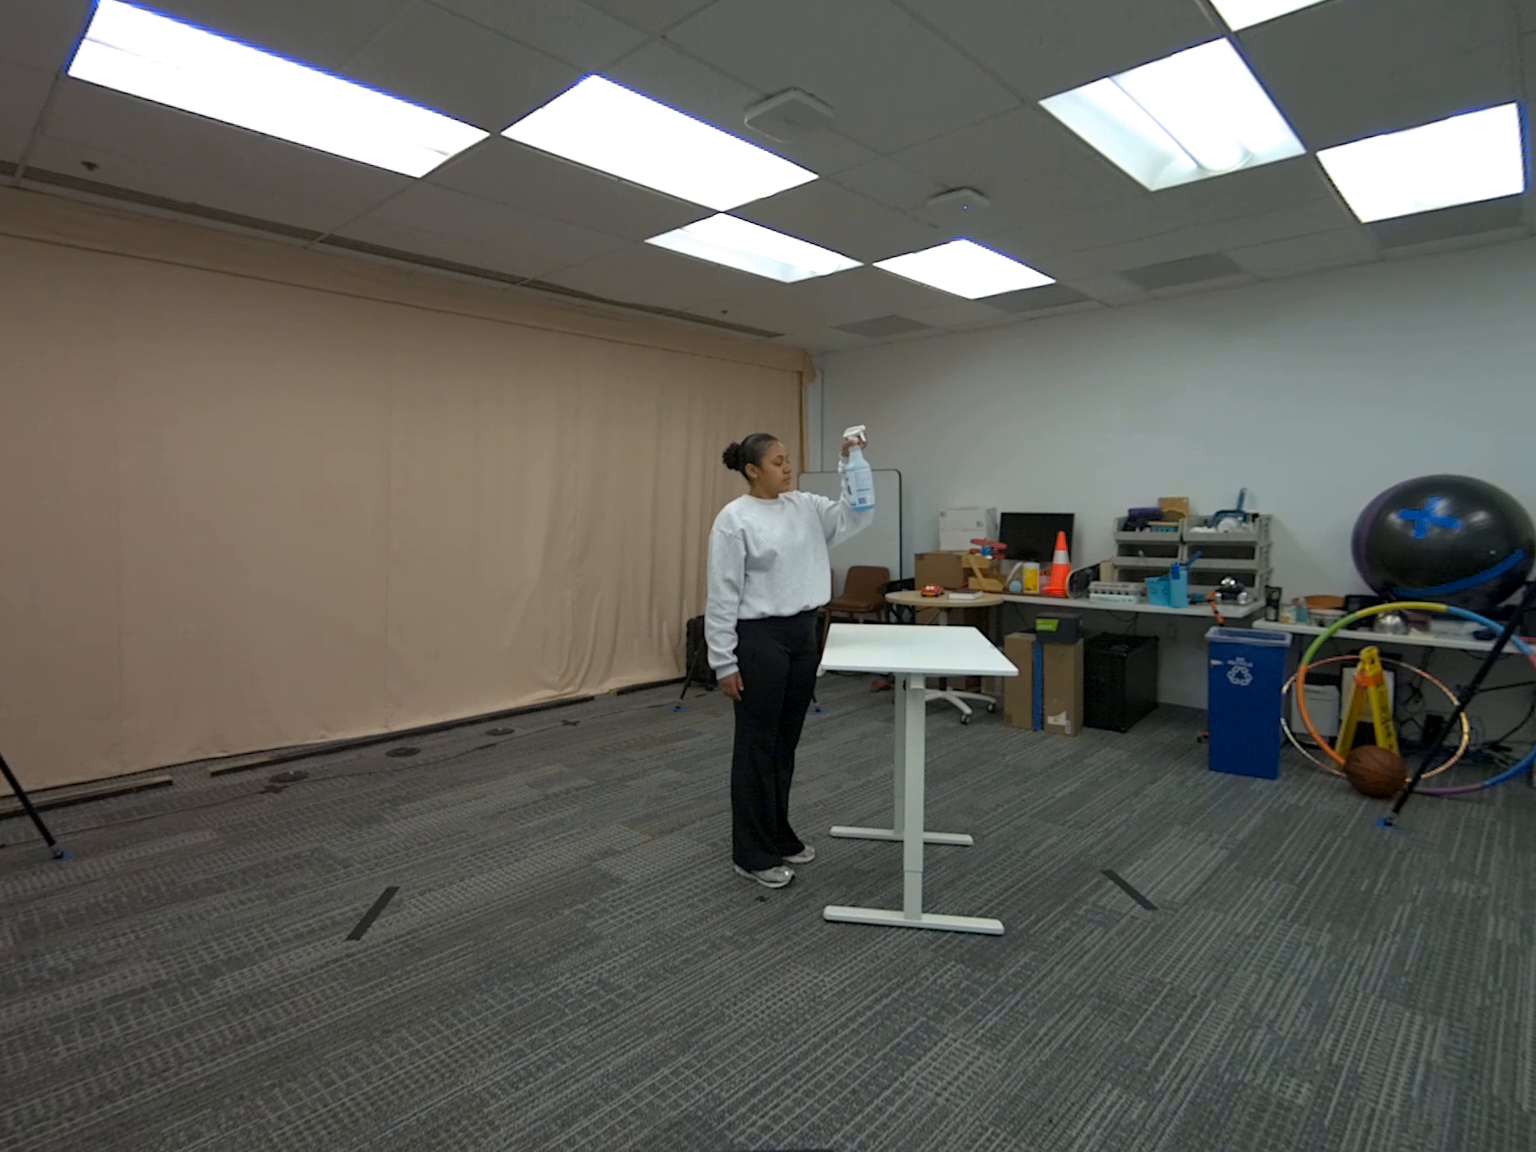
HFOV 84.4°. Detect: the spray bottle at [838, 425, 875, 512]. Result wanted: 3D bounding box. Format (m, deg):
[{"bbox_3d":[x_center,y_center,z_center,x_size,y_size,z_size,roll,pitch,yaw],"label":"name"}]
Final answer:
[{"bbox_3d":[0.329,-0.380,3.013,0.085,0.295,0.092,-10,10,-21],"label":"spray bottle"}]
